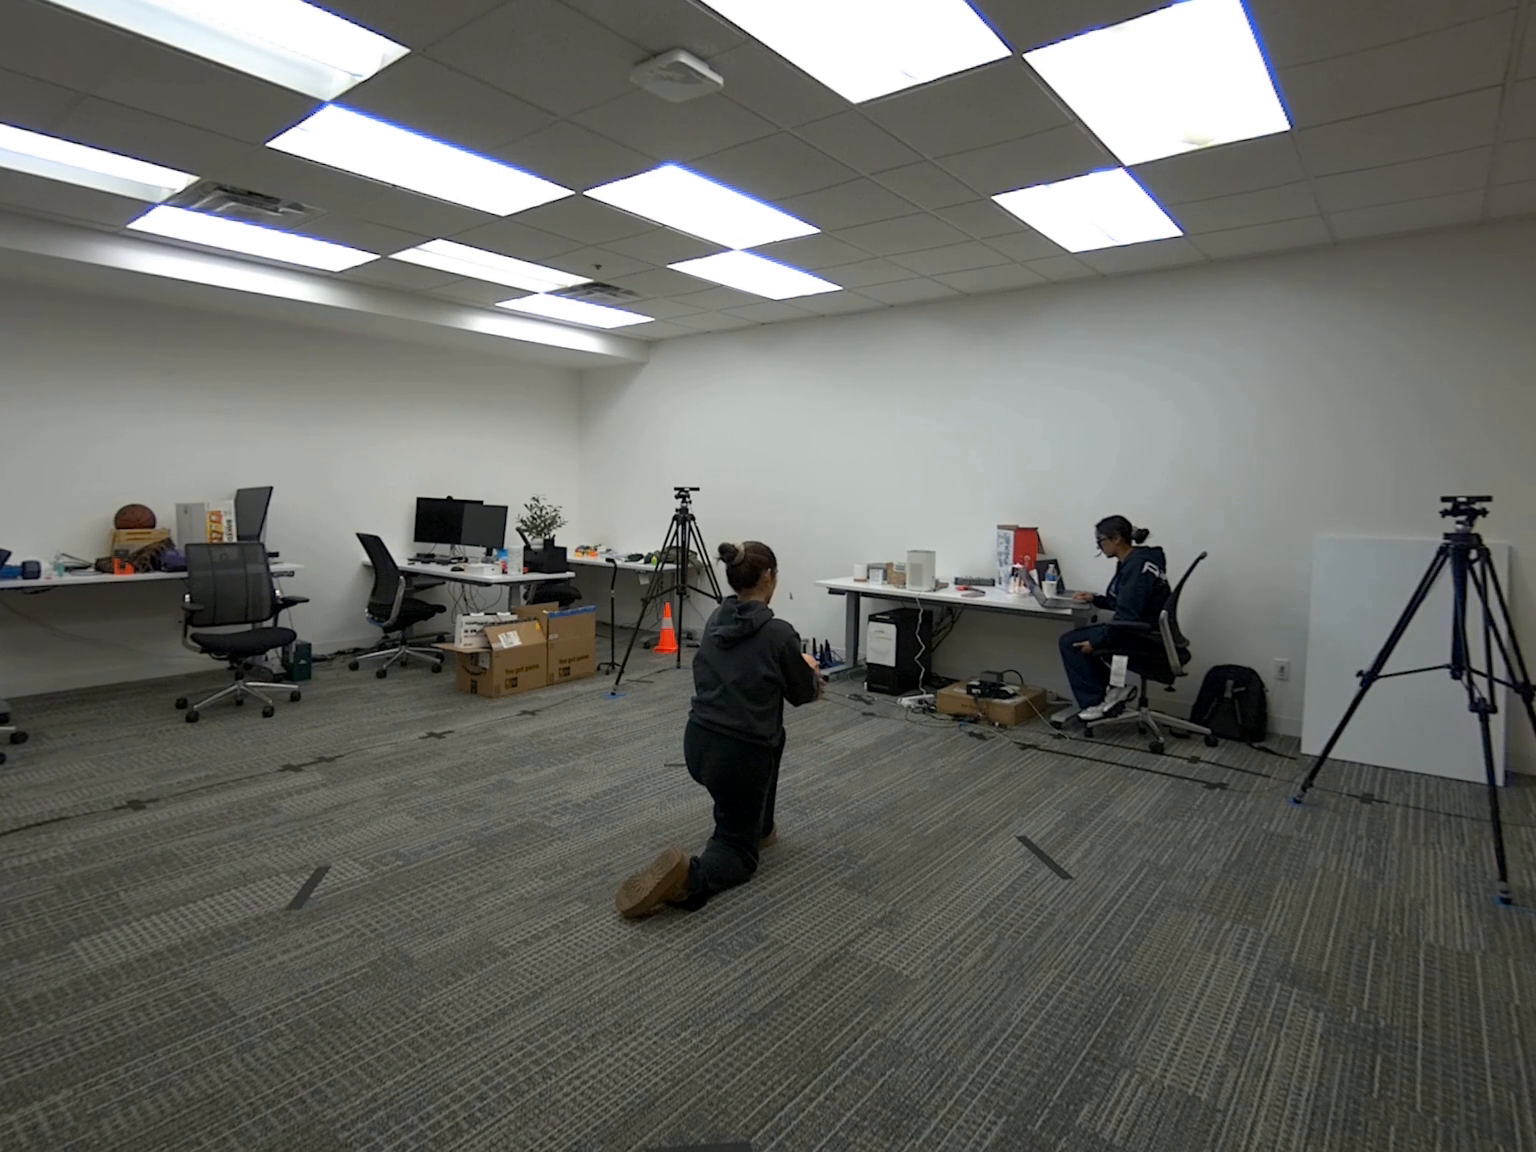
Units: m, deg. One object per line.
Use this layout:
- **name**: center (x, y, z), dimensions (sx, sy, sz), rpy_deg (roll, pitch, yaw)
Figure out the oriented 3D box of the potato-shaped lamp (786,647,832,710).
- **potato-shaped lamp**: center (0.142, 0.412, 3.456), dimensions (0.170, 0.197, 0.167), rpy_deg (4, 9, 37)
